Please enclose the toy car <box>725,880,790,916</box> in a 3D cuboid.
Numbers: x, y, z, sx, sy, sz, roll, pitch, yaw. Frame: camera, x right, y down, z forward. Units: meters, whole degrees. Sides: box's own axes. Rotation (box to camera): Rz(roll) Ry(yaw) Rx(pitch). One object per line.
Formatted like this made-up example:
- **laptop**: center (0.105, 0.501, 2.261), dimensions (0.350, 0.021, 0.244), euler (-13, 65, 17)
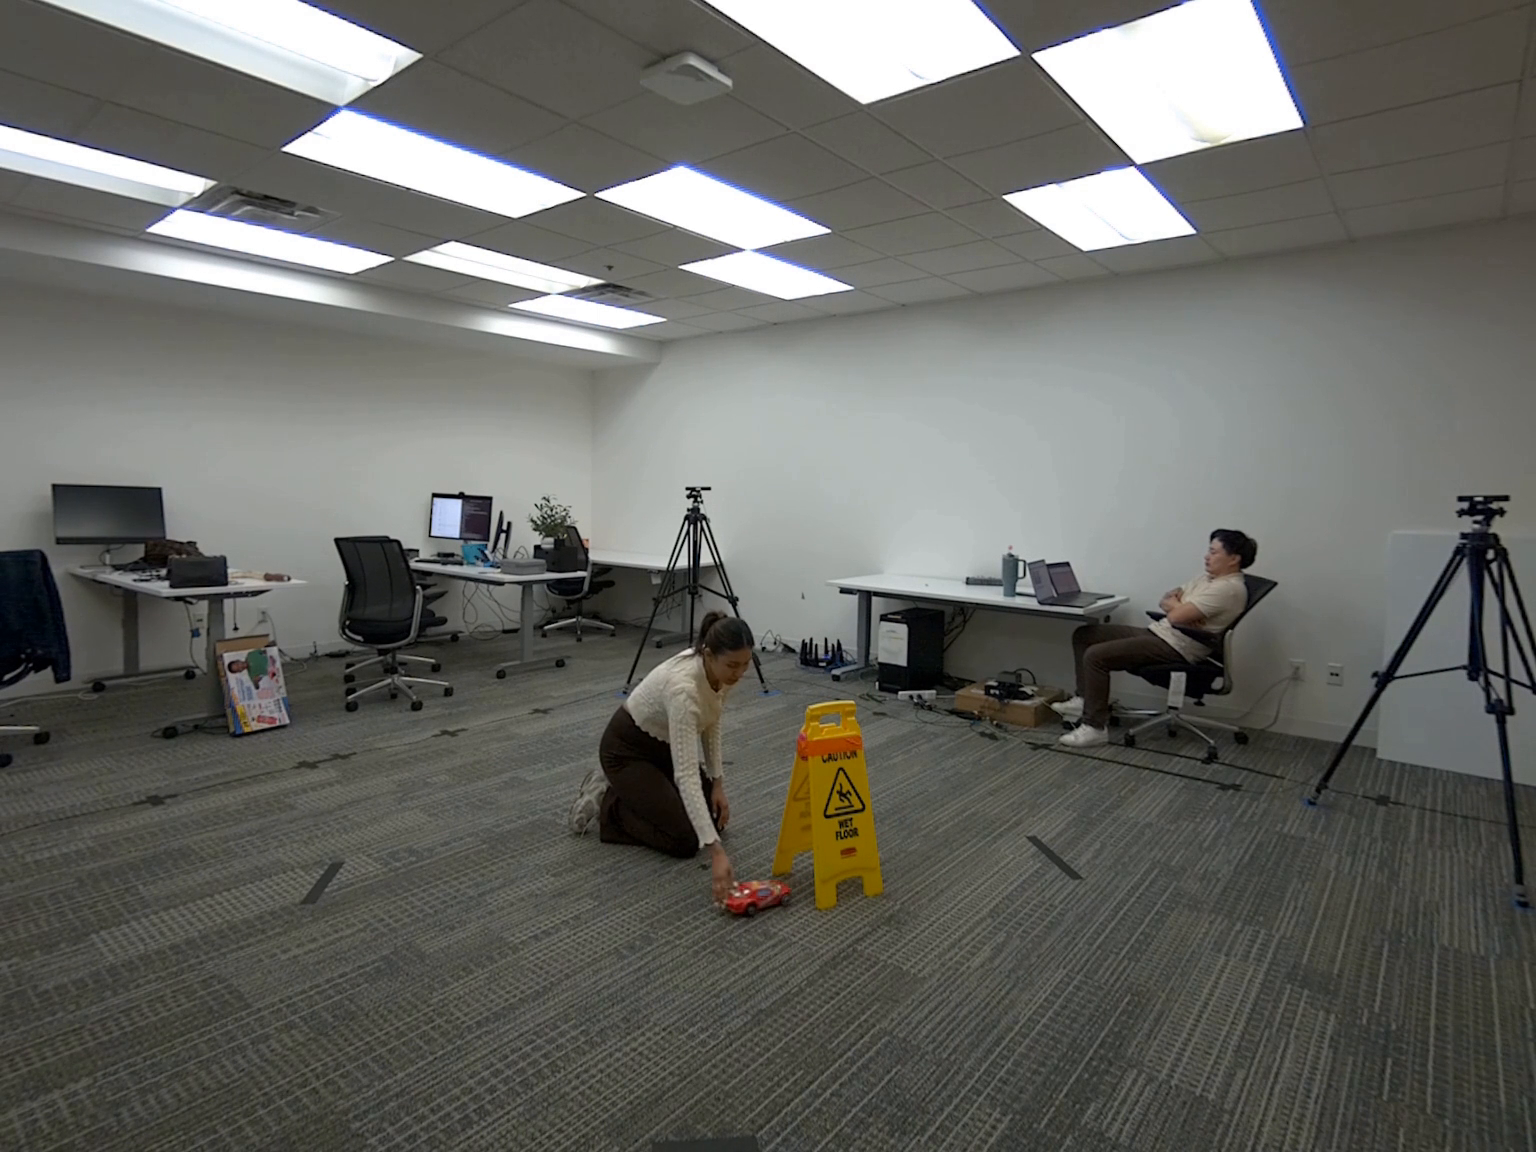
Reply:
- **toy car**: center (-0.052, 1.066, 2.834), dimensions (0.246, 0.083, 0.134), euler (13, -2, -32)
